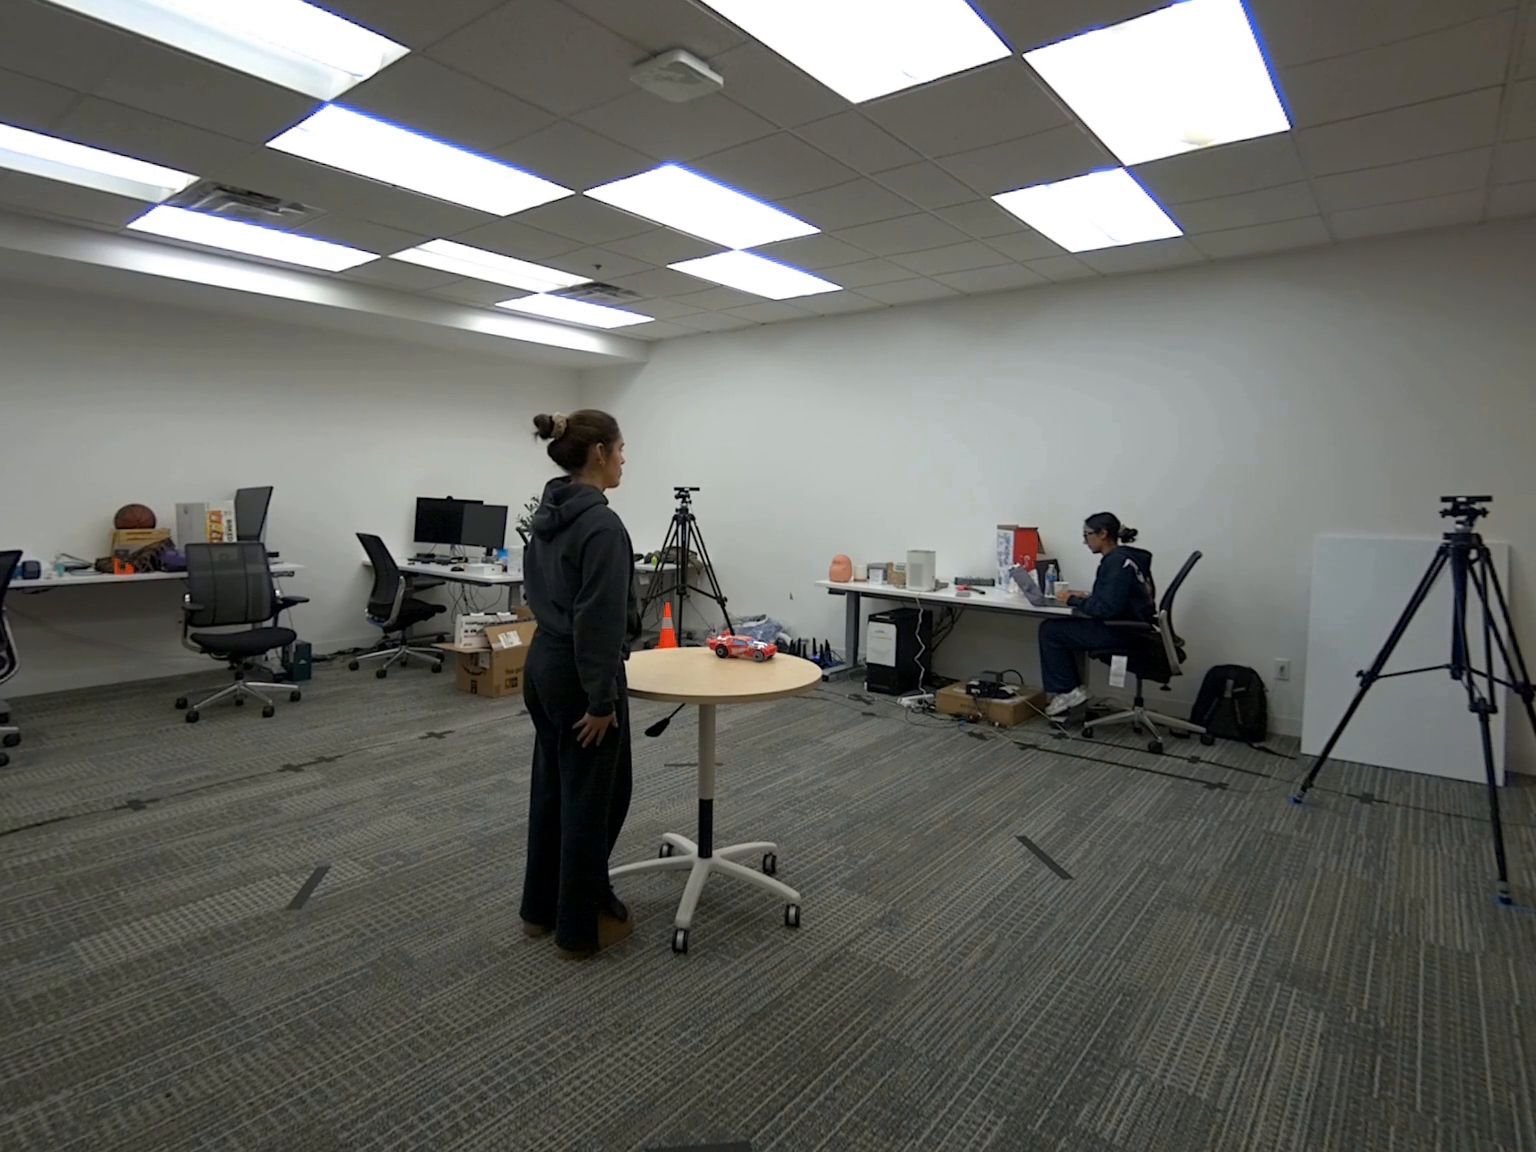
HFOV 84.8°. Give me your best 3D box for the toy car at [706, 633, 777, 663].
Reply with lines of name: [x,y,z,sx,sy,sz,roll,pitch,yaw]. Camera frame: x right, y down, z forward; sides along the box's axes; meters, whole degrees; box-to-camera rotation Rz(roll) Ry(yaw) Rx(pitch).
toy car: [-0.106,0.259,3.058,0.262,0.082,0.127,15,11,24]
